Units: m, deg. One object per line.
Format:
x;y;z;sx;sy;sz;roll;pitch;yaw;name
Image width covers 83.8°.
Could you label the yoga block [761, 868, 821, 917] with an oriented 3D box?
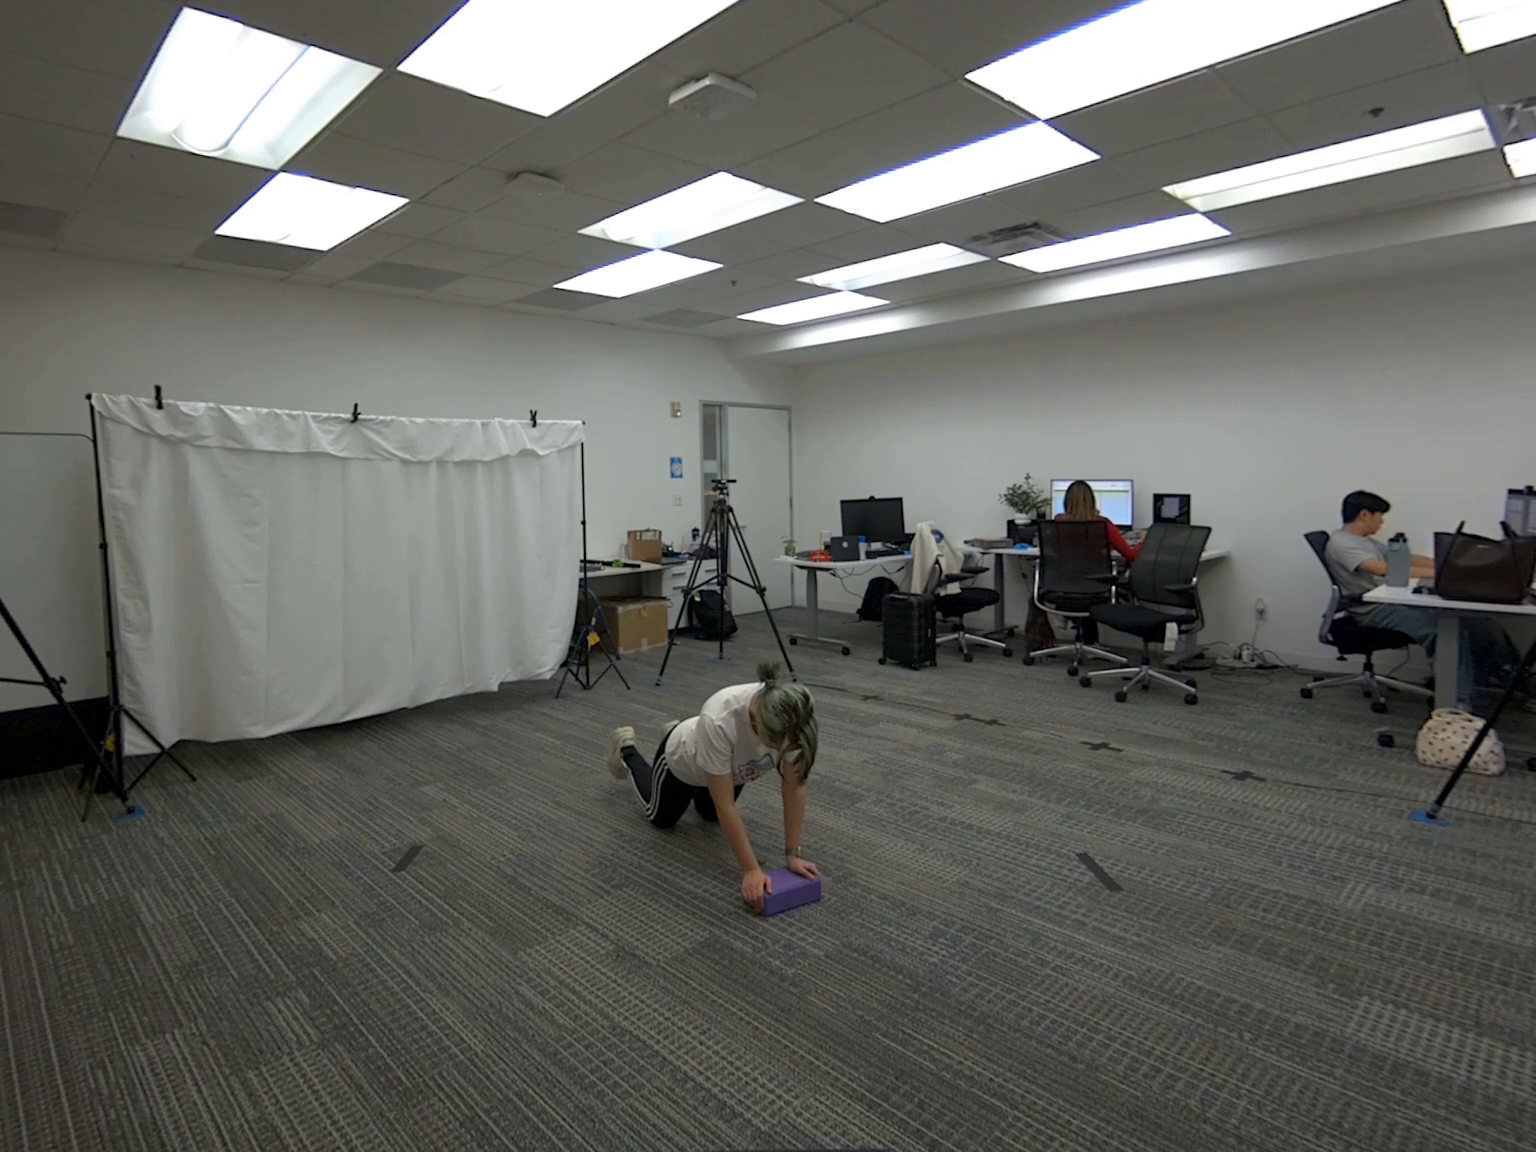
0.048;1.038;2.839;0.224;0.076;0.153;-4;7;-32;yoga block
